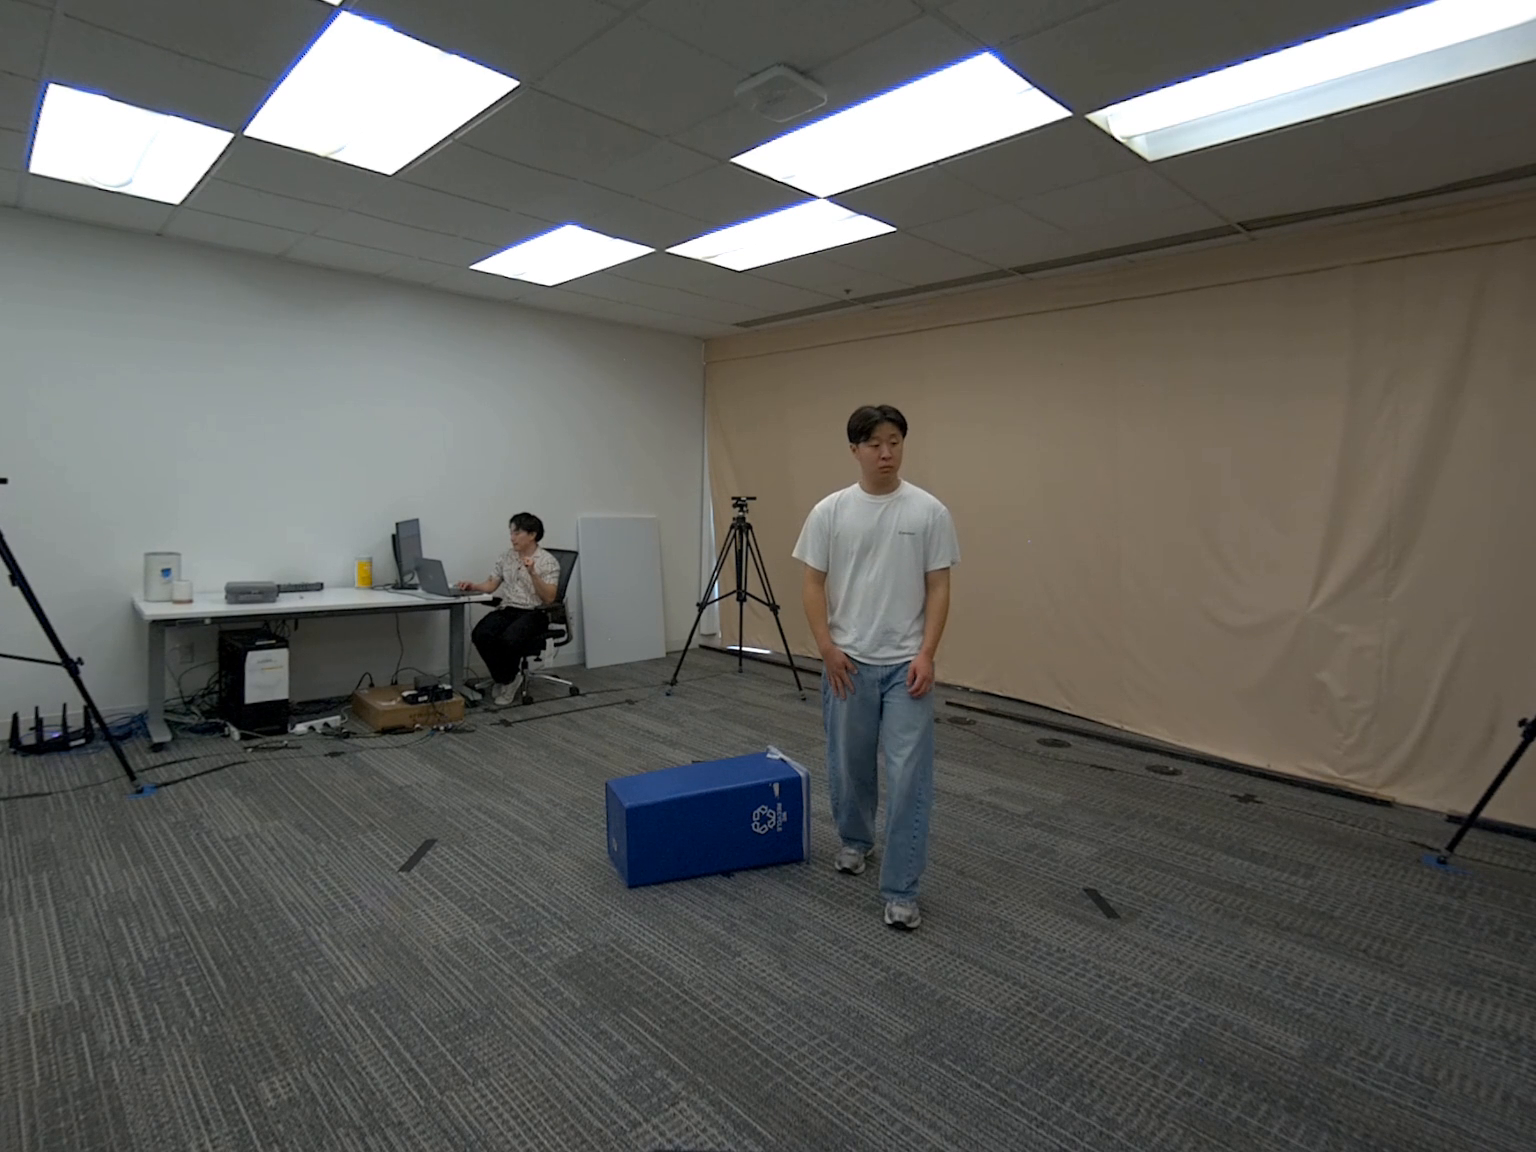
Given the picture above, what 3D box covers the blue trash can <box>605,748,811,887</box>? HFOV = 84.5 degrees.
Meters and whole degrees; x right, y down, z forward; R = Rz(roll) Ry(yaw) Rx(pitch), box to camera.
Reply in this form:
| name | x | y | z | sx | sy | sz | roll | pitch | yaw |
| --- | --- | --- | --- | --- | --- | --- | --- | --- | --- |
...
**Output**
| name | x | y | z | sx | sy | sz | roll | pitch | yaw |
| --- | --- | --- | --- | --- | --- | --- | --- | --- | --- |
| blue trash can | -0.240 | 0.927 | 3.233 | 0.702 | 0.377 | 0.381 | -3 | 5 | -24 |
